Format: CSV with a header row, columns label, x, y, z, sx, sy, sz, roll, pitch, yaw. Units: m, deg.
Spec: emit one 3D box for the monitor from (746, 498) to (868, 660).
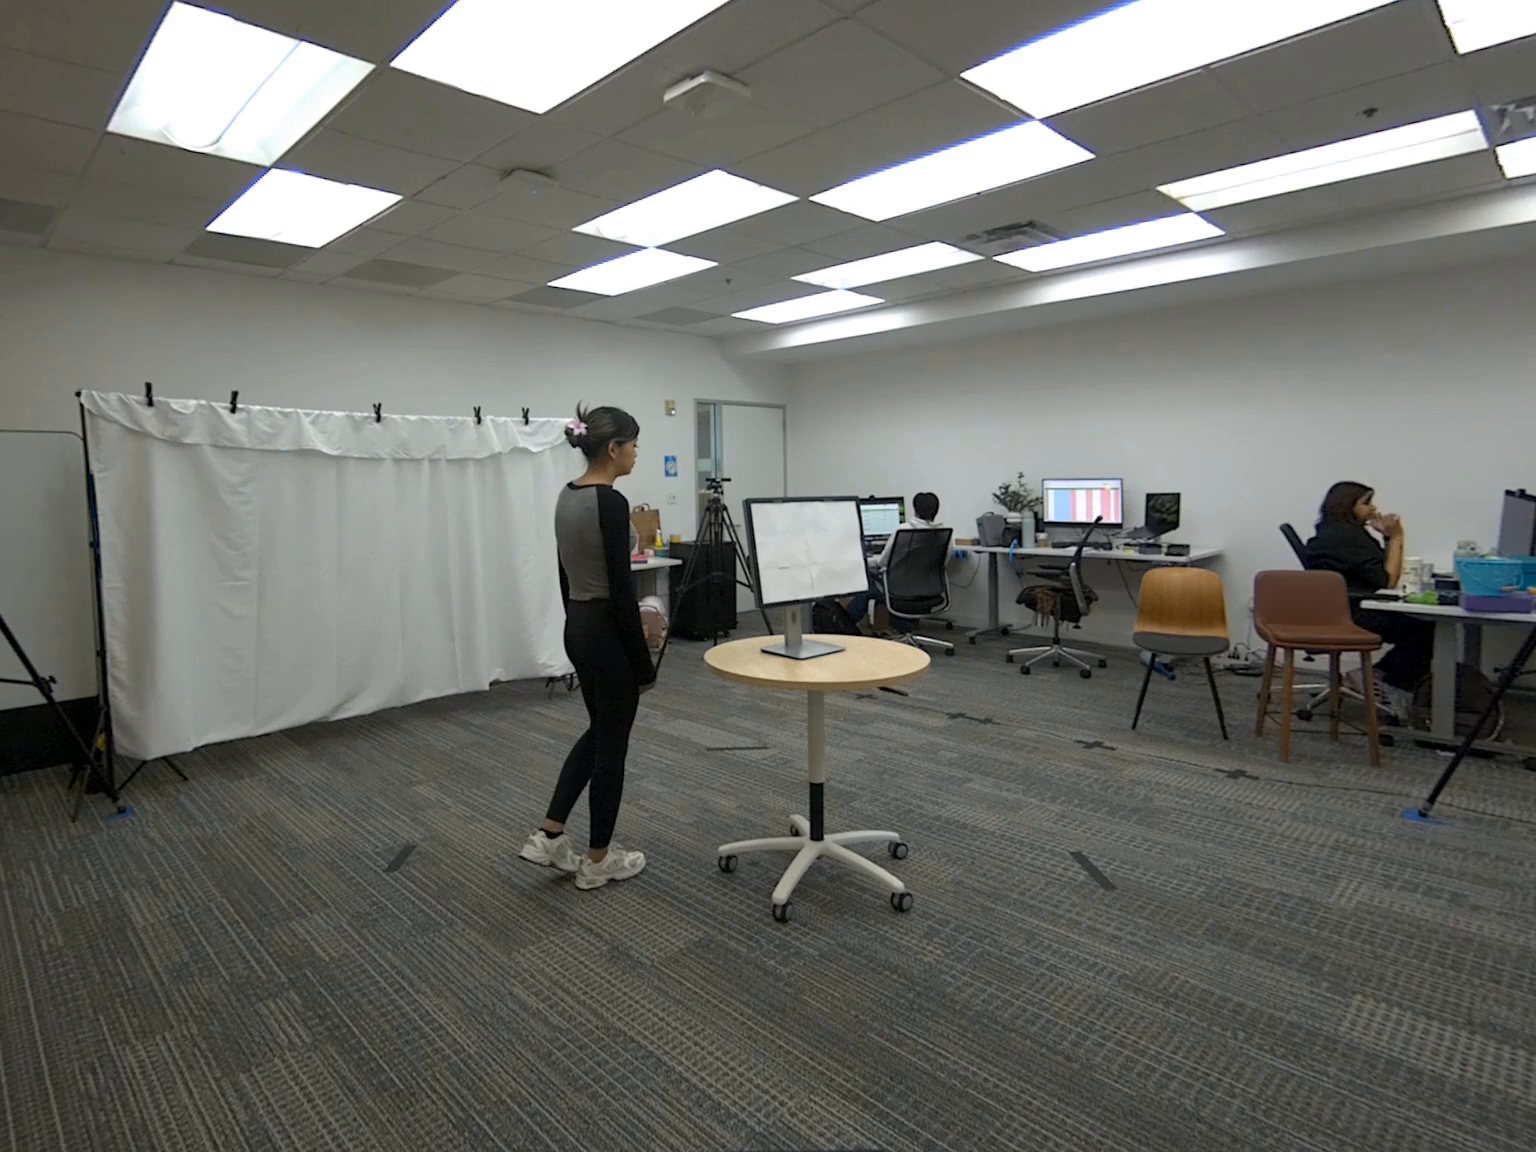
label,x,y,z,sx,sy,sz,roll,pitch,yaw
monitor,0.125,0.000,2.979,0.525,0.520,0.193,-6,7,-43
